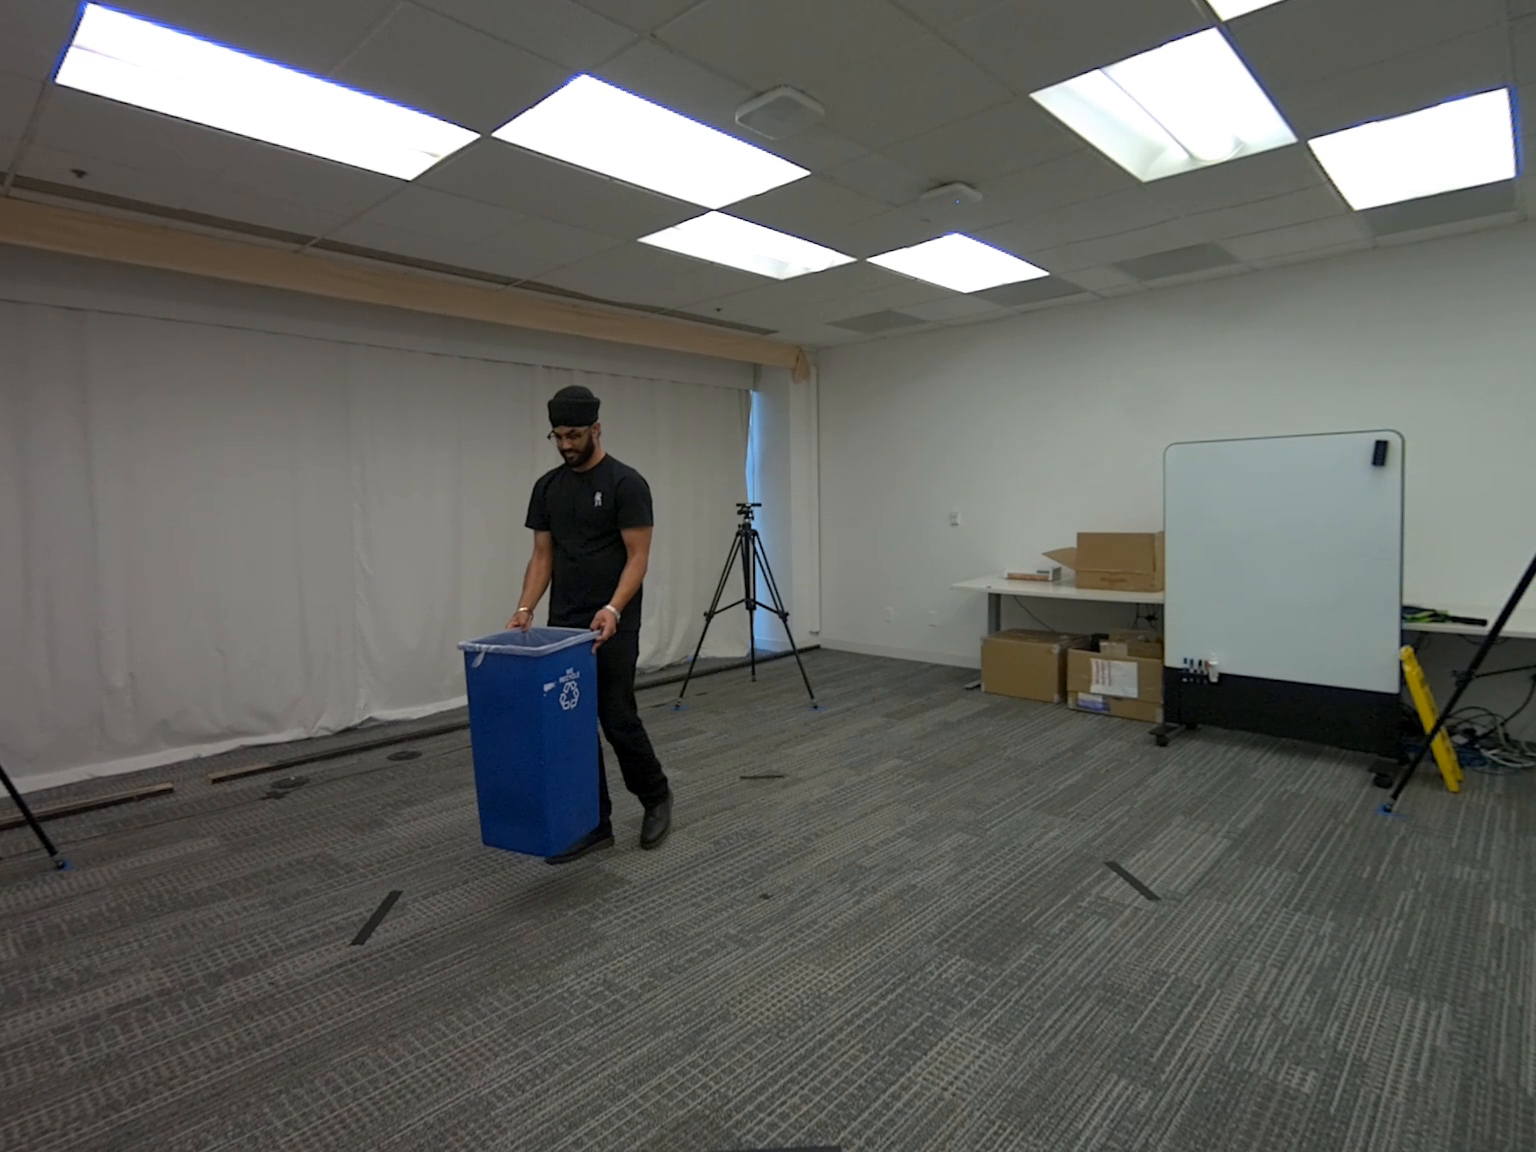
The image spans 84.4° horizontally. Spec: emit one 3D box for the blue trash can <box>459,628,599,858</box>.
[{"bbox_3d":[-0.811,0.564,2.970,0.388,0.711,0.366,0,6,25],"label":"blue trash can"}]
